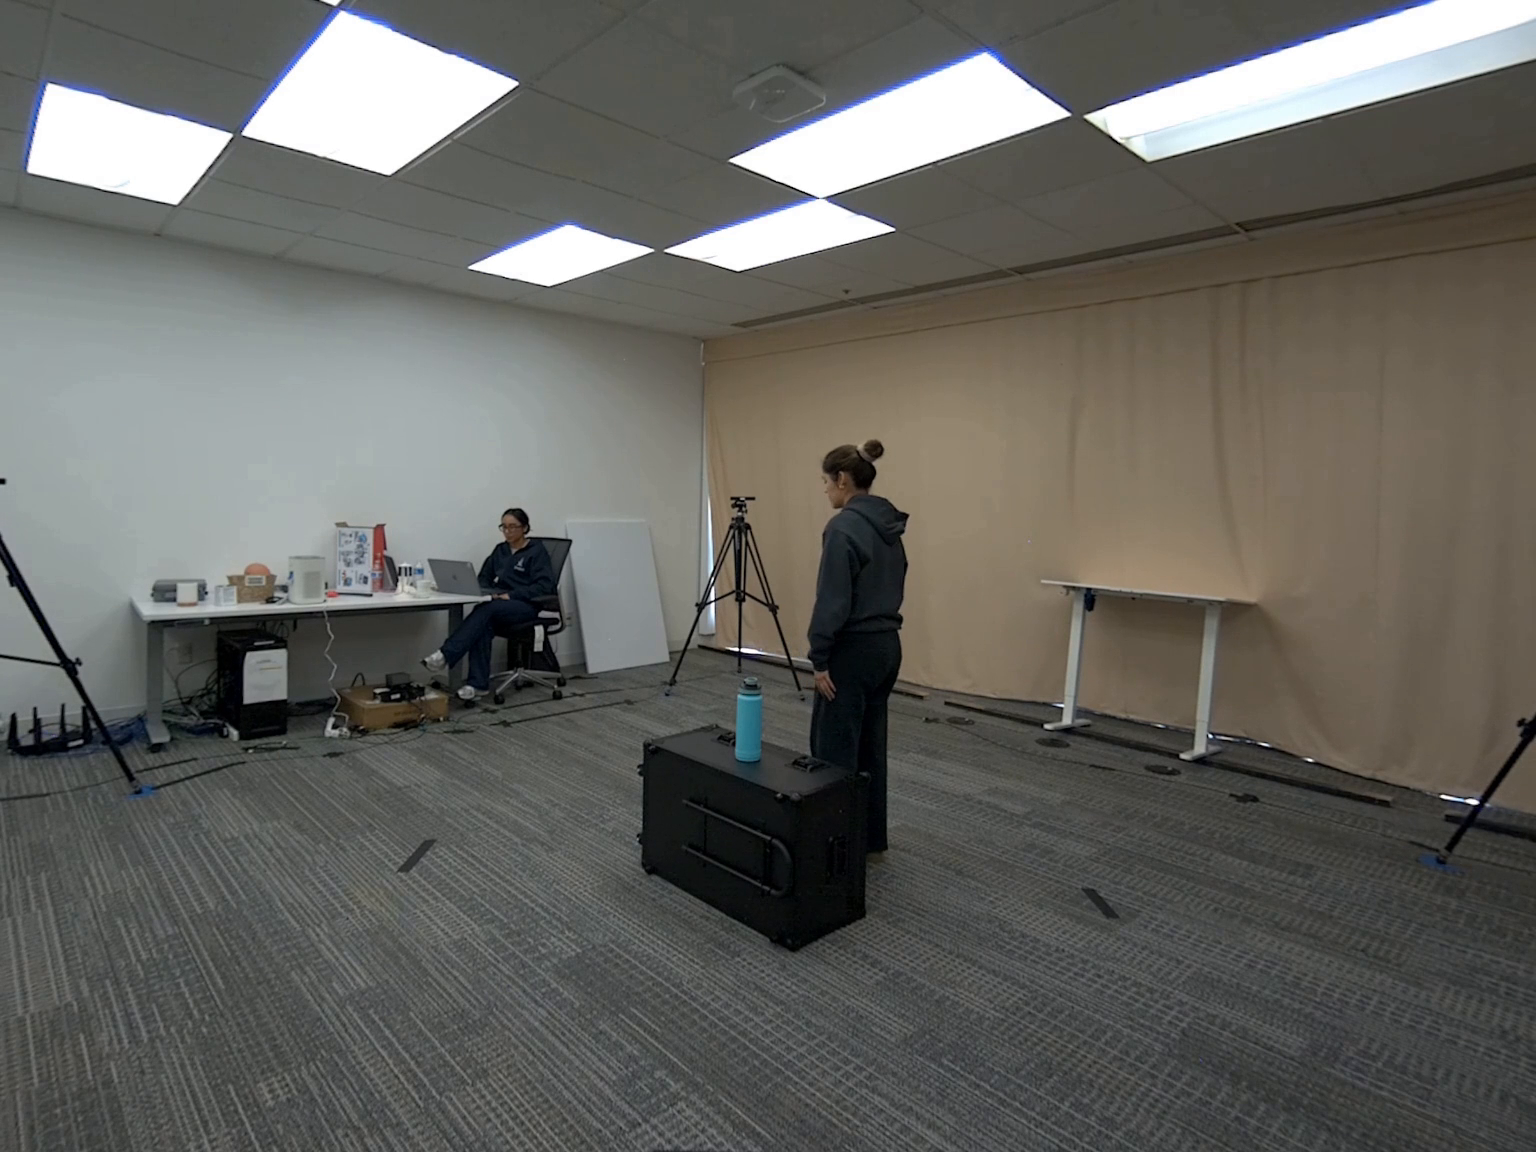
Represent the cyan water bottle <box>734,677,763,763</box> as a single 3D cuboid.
[{"bbox_3d":[-0.073,0.498,2.957,0.092,0.283,0.092,2,2,-1],"label":"cyan water bottle"}]
